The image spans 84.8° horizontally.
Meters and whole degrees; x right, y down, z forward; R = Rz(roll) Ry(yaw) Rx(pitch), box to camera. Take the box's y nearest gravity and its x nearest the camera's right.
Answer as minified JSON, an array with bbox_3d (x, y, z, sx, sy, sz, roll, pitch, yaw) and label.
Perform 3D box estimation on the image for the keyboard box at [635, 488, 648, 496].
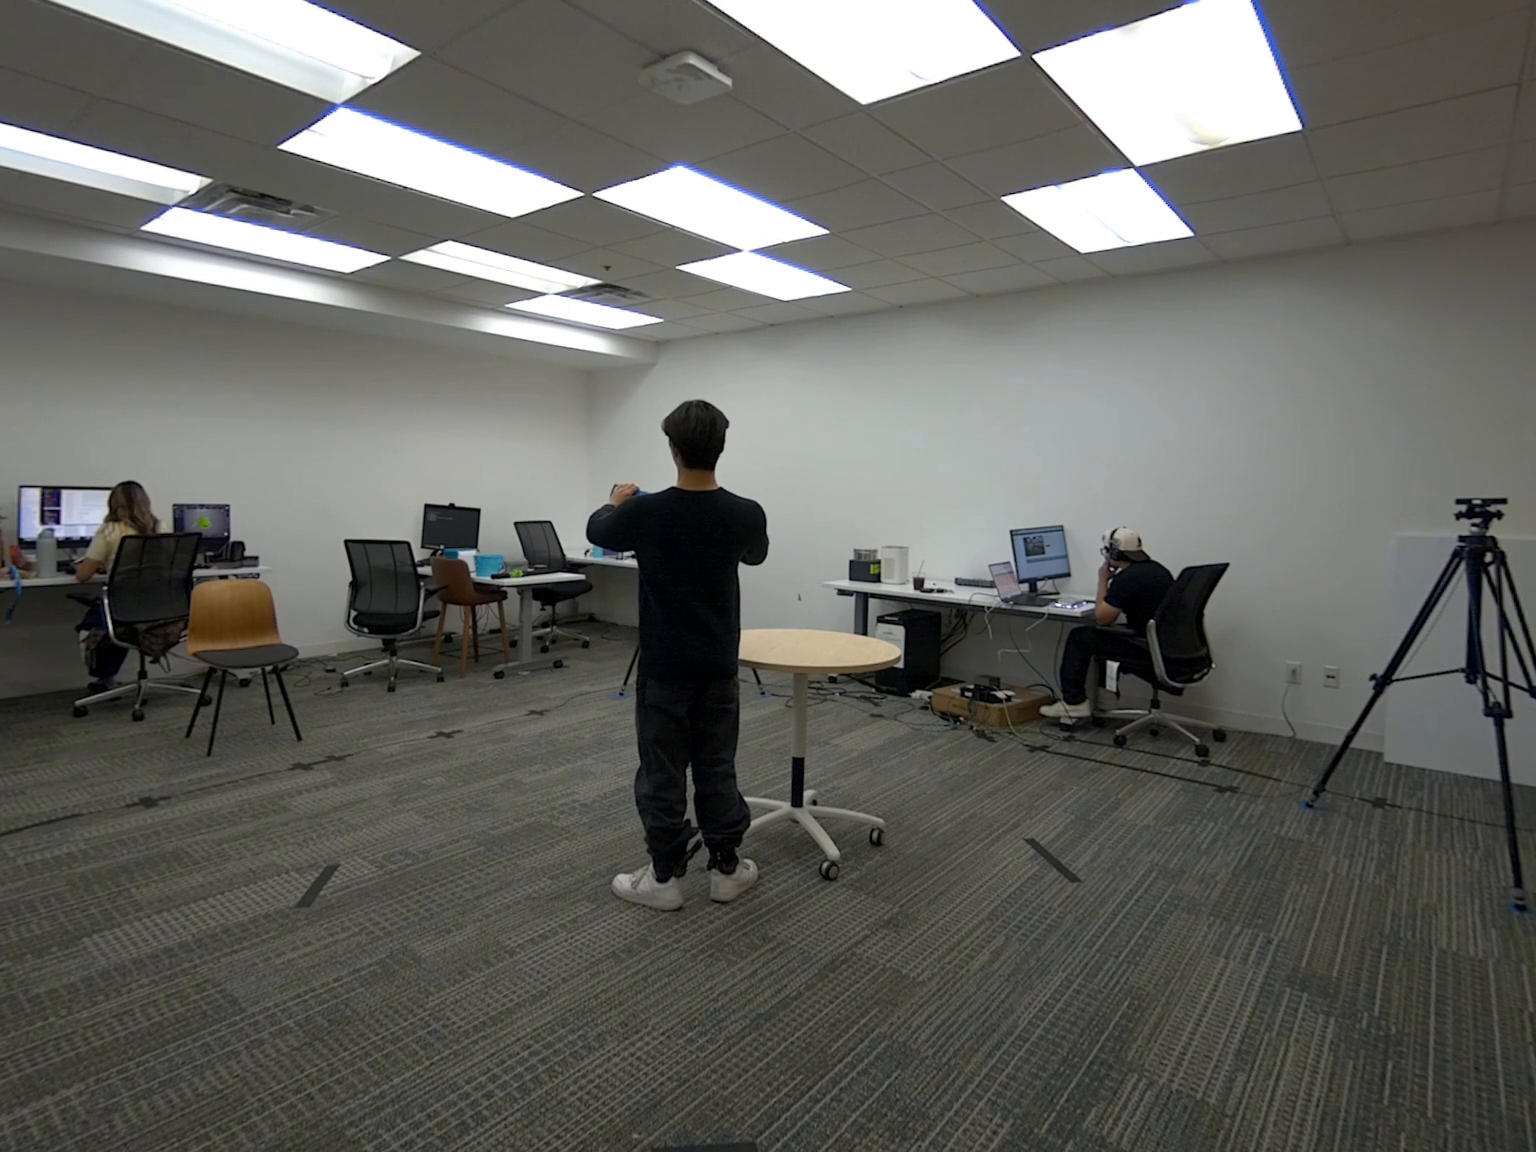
[{"bbox_3d":[-0.392,-0.255,3.224,0.452,0.059,0.169,17,-8,31],"label":"keyboard box"}]
